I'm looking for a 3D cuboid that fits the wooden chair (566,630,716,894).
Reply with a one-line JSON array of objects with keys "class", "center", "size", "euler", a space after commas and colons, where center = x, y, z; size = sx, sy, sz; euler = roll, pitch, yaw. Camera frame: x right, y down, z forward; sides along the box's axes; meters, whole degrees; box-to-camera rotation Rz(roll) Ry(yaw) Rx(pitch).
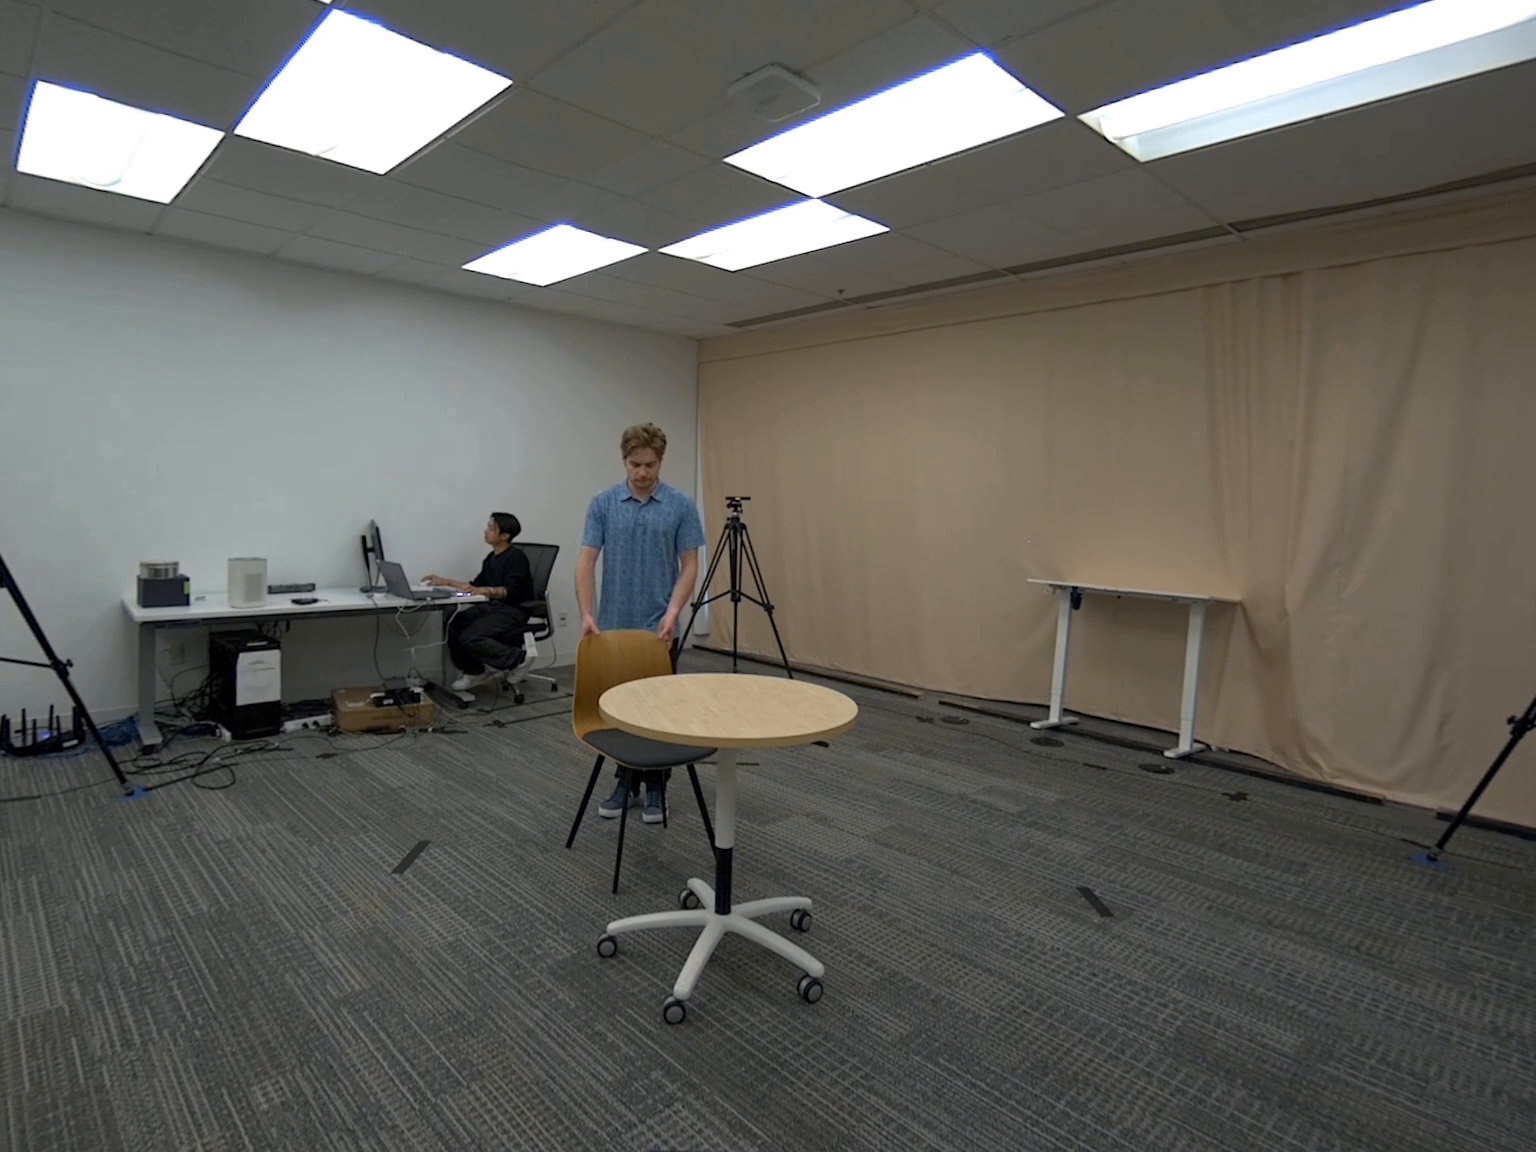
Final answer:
[{"class": "wooden chair", "center": [-0.475, 0.663, 3.213], "size": [0.468, 0.878, 0.534], "euler": [-1, -1, -34]}]
